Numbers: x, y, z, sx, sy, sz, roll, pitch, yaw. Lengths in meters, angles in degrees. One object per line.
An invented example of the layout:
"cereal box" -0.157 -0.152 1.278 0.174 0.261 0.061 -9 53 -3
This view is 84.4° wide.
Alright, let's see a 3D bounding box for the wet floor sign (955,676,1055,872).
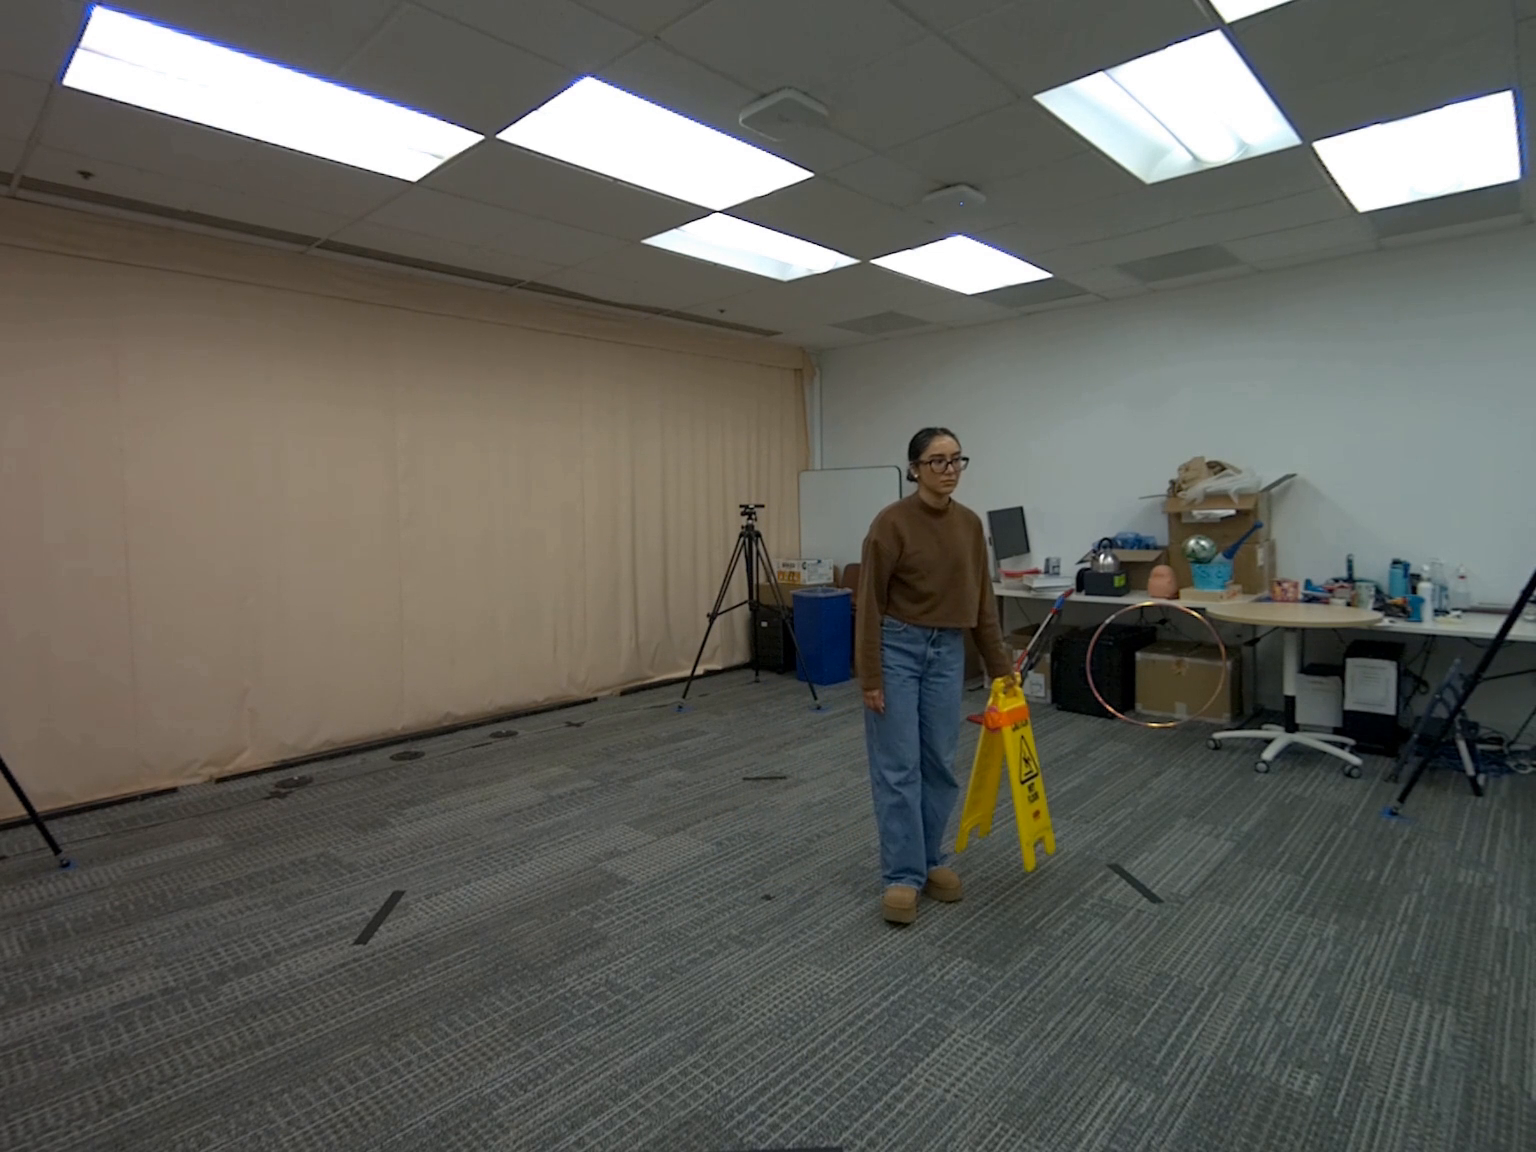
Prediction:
"wet floor sign" 0.871 0.689 3.072 0.299 0.646 0.273 0 1 39
